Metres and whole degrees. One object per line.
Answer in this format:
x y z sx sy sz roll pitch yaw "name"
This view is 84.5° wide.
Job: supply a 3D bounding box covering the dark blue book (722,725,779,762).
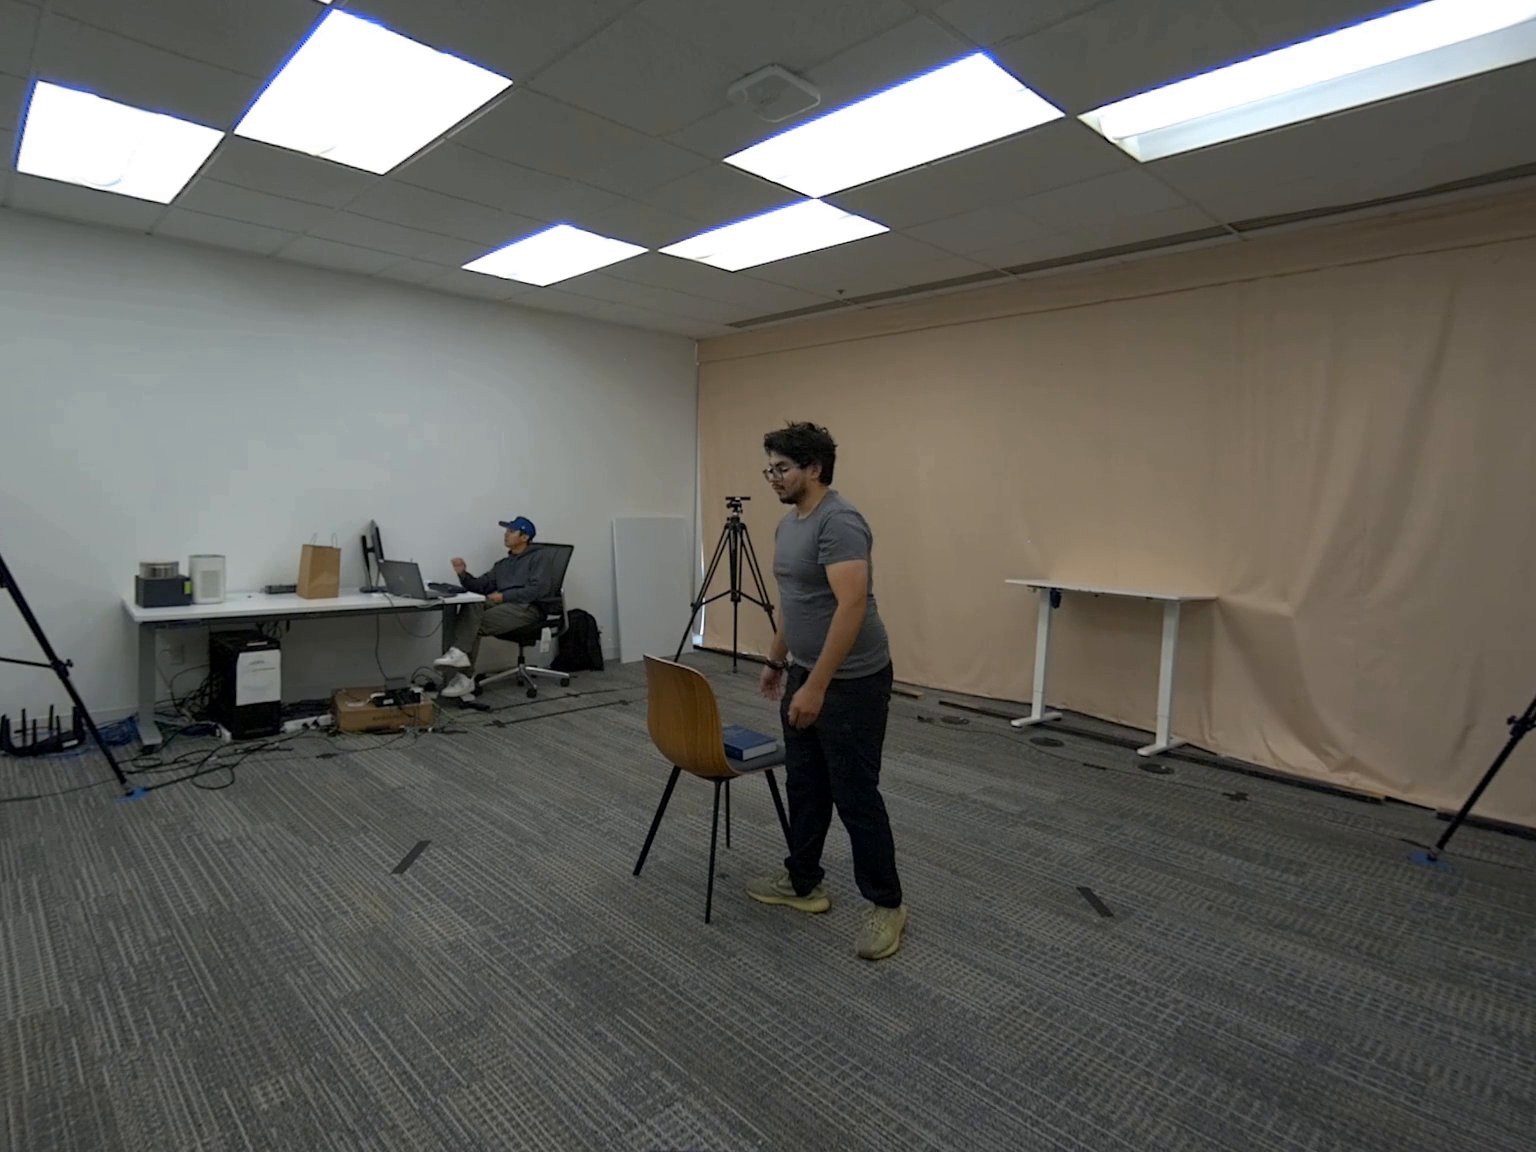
-0.106 0.604 3.062 0.160 0.045 0.251 -7 9 -41 "dark blue book"
